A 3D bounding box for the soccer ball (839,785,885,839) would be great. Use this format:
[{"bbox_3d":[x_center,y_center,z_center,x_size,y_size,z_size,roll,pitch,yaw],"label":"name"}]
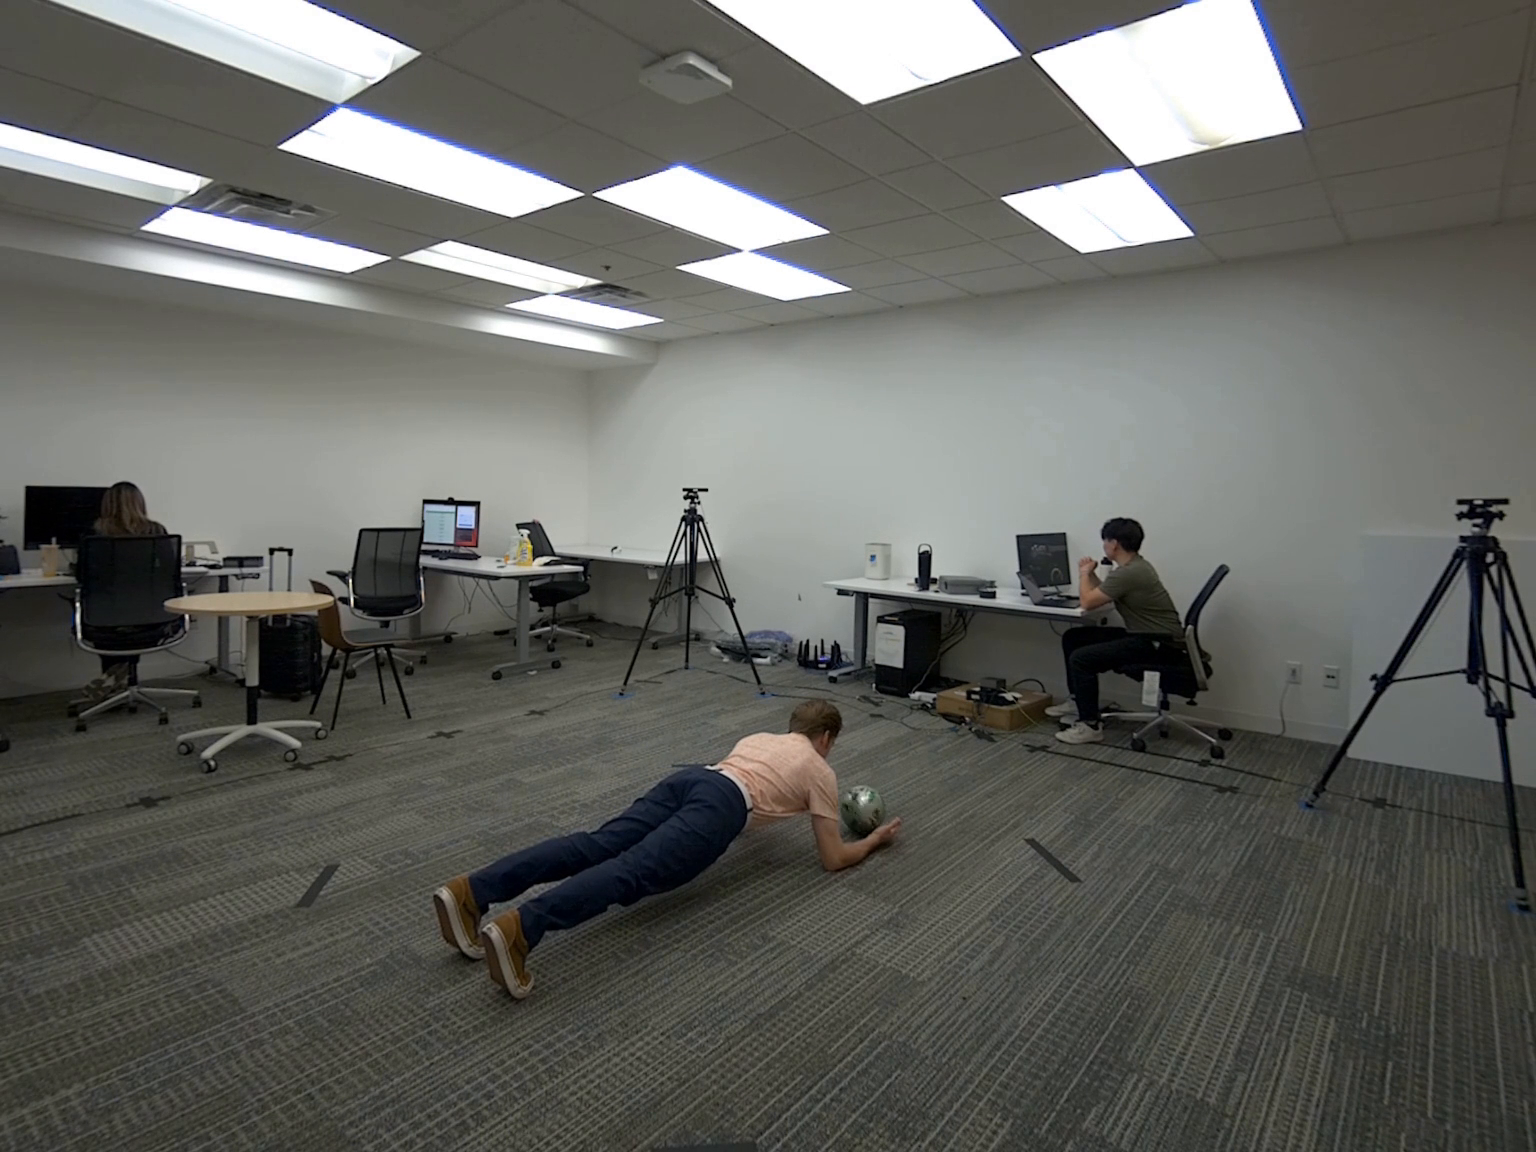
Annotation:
[{"bbox_3d":[0.376,0.956,3.488,0.187,0.187,0.188,1,4,-2],"label":"soccer ball"}]
